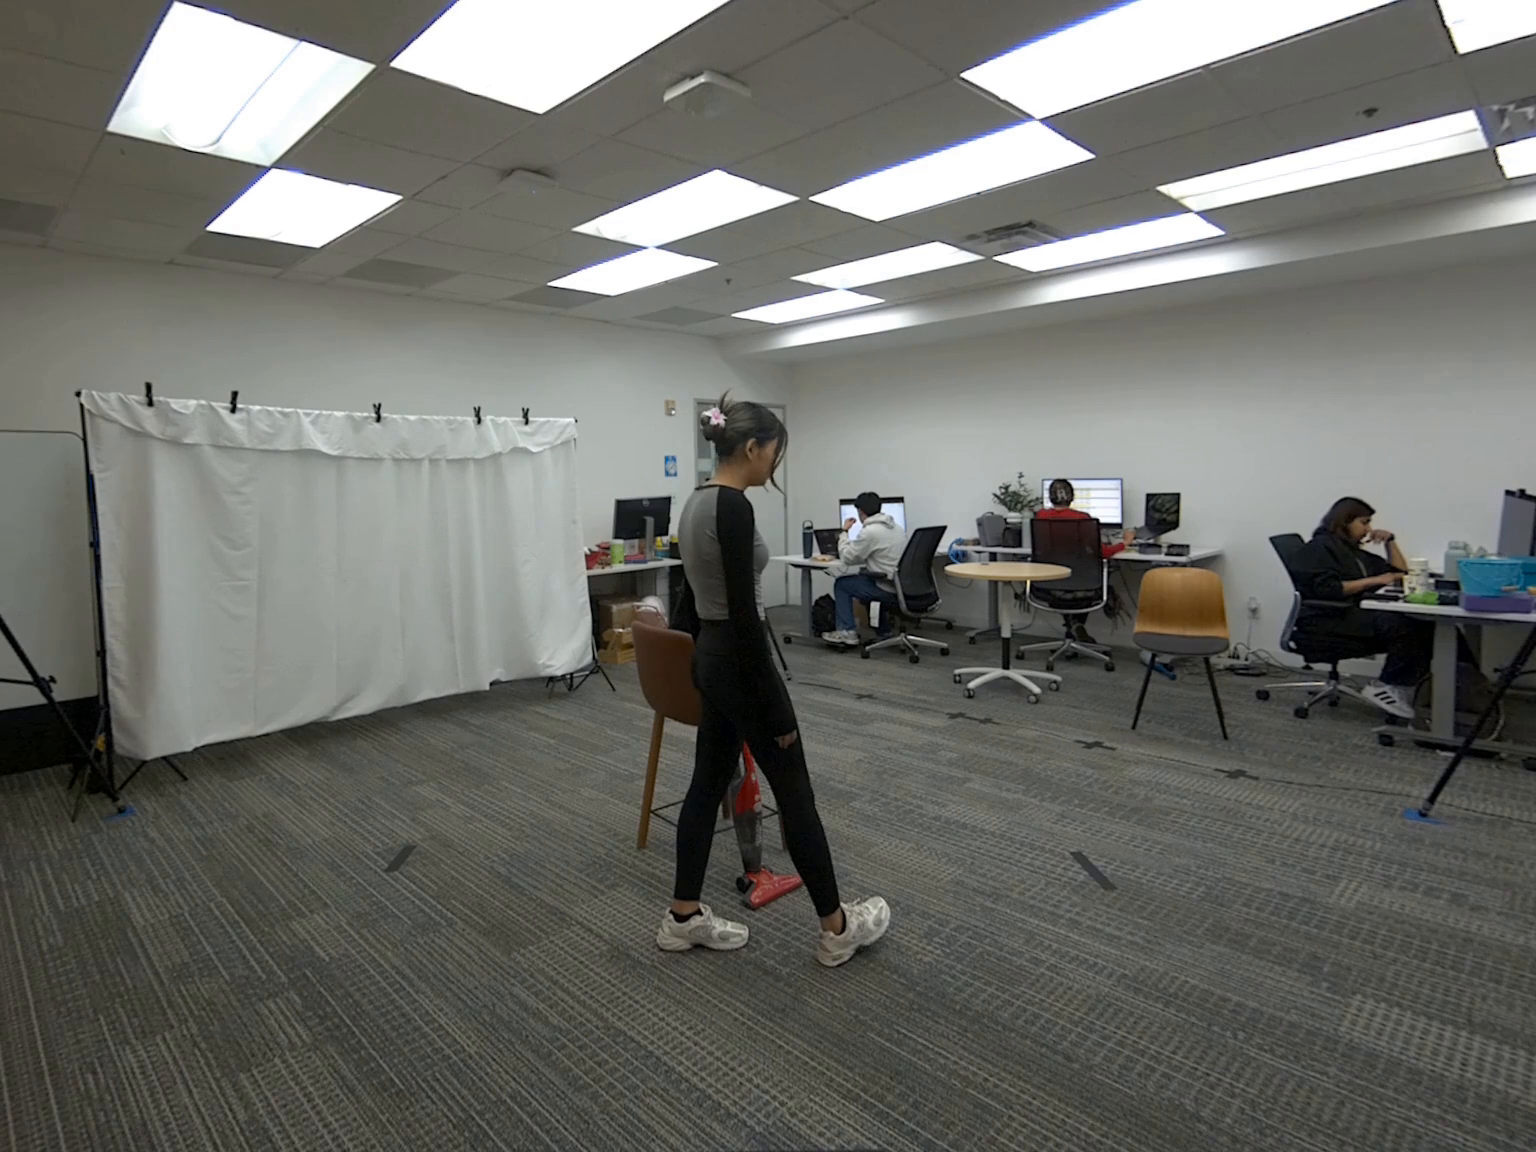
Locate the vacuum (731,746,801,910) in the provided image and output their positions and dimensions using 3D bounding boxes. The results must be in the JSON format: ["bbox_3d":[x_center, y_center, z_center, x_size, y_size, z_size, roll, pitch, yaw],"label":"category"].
[{"bbox_3d":[-0.111,0.554,2.953,0.247,1.058,0.146,-6,-9,-32],"label":"vacuum"}]
